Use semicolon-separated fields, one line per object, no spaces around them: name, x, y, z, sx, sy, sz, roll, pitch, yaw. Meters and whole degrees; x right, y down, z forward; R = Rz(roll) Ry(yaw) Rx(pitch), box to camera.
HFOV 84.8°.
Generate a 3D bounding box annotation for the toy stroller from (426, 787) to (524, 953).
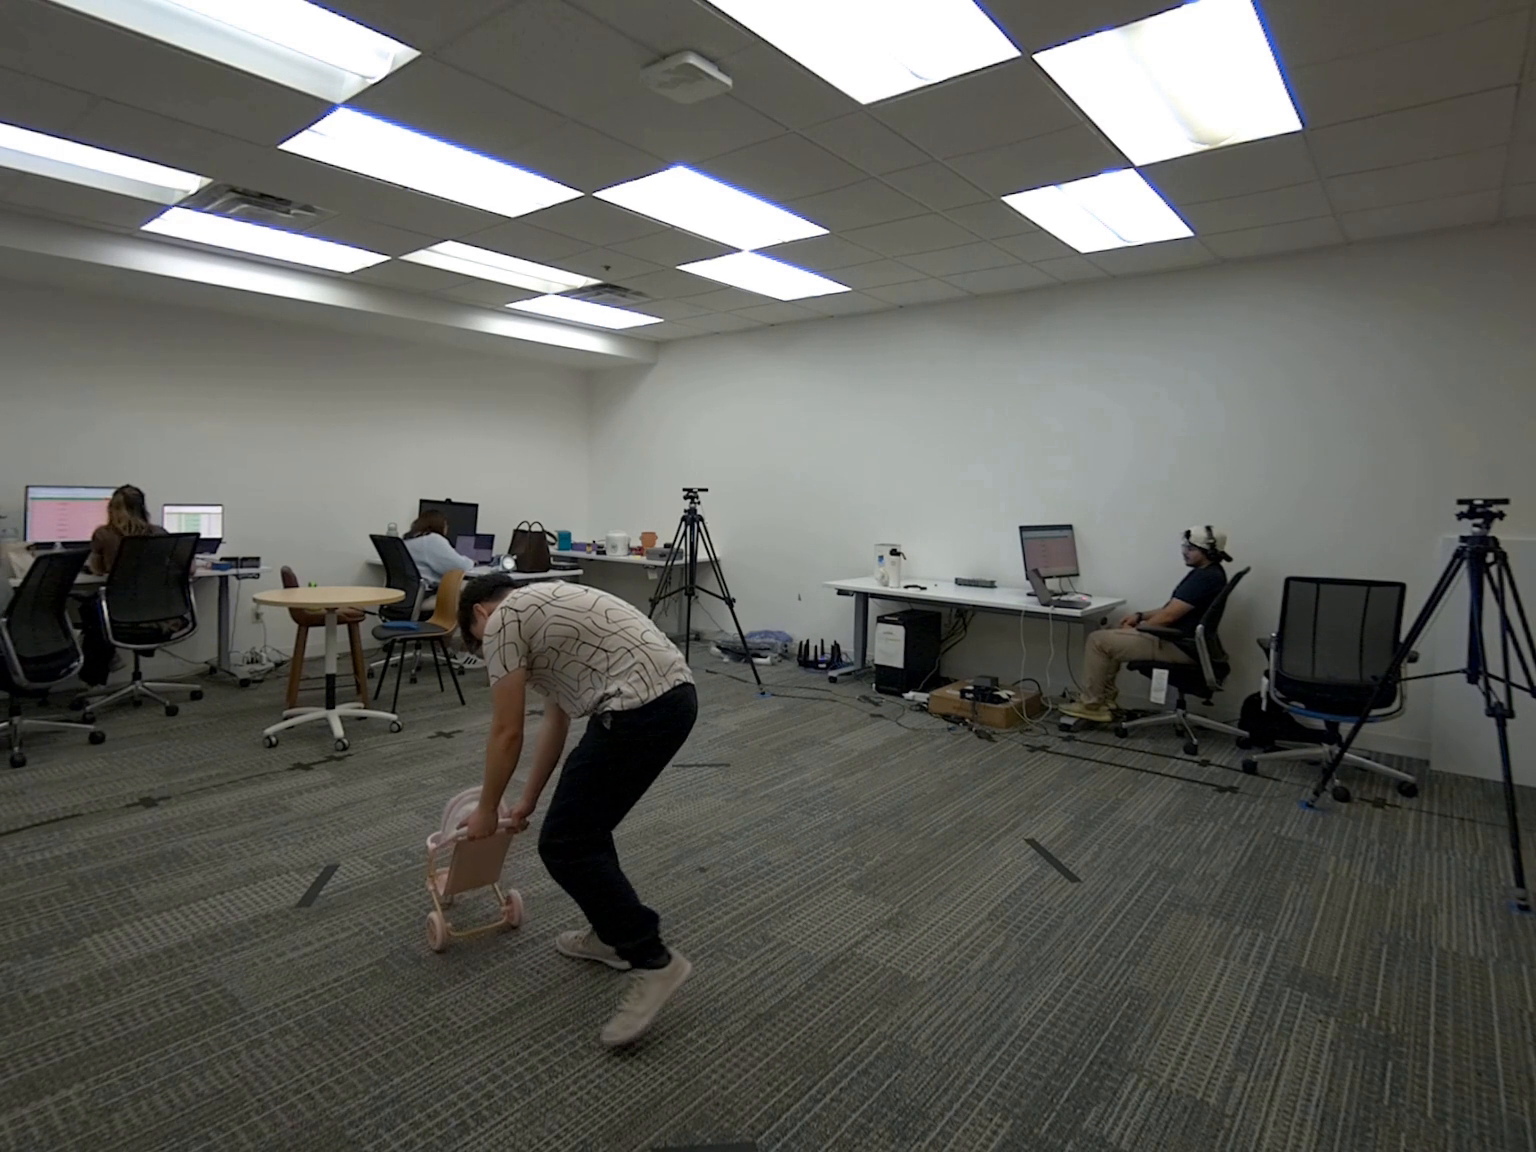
toy stroller;-0.939;0.882;2.654;0.273;0.528;0.356;-1;22;-34
